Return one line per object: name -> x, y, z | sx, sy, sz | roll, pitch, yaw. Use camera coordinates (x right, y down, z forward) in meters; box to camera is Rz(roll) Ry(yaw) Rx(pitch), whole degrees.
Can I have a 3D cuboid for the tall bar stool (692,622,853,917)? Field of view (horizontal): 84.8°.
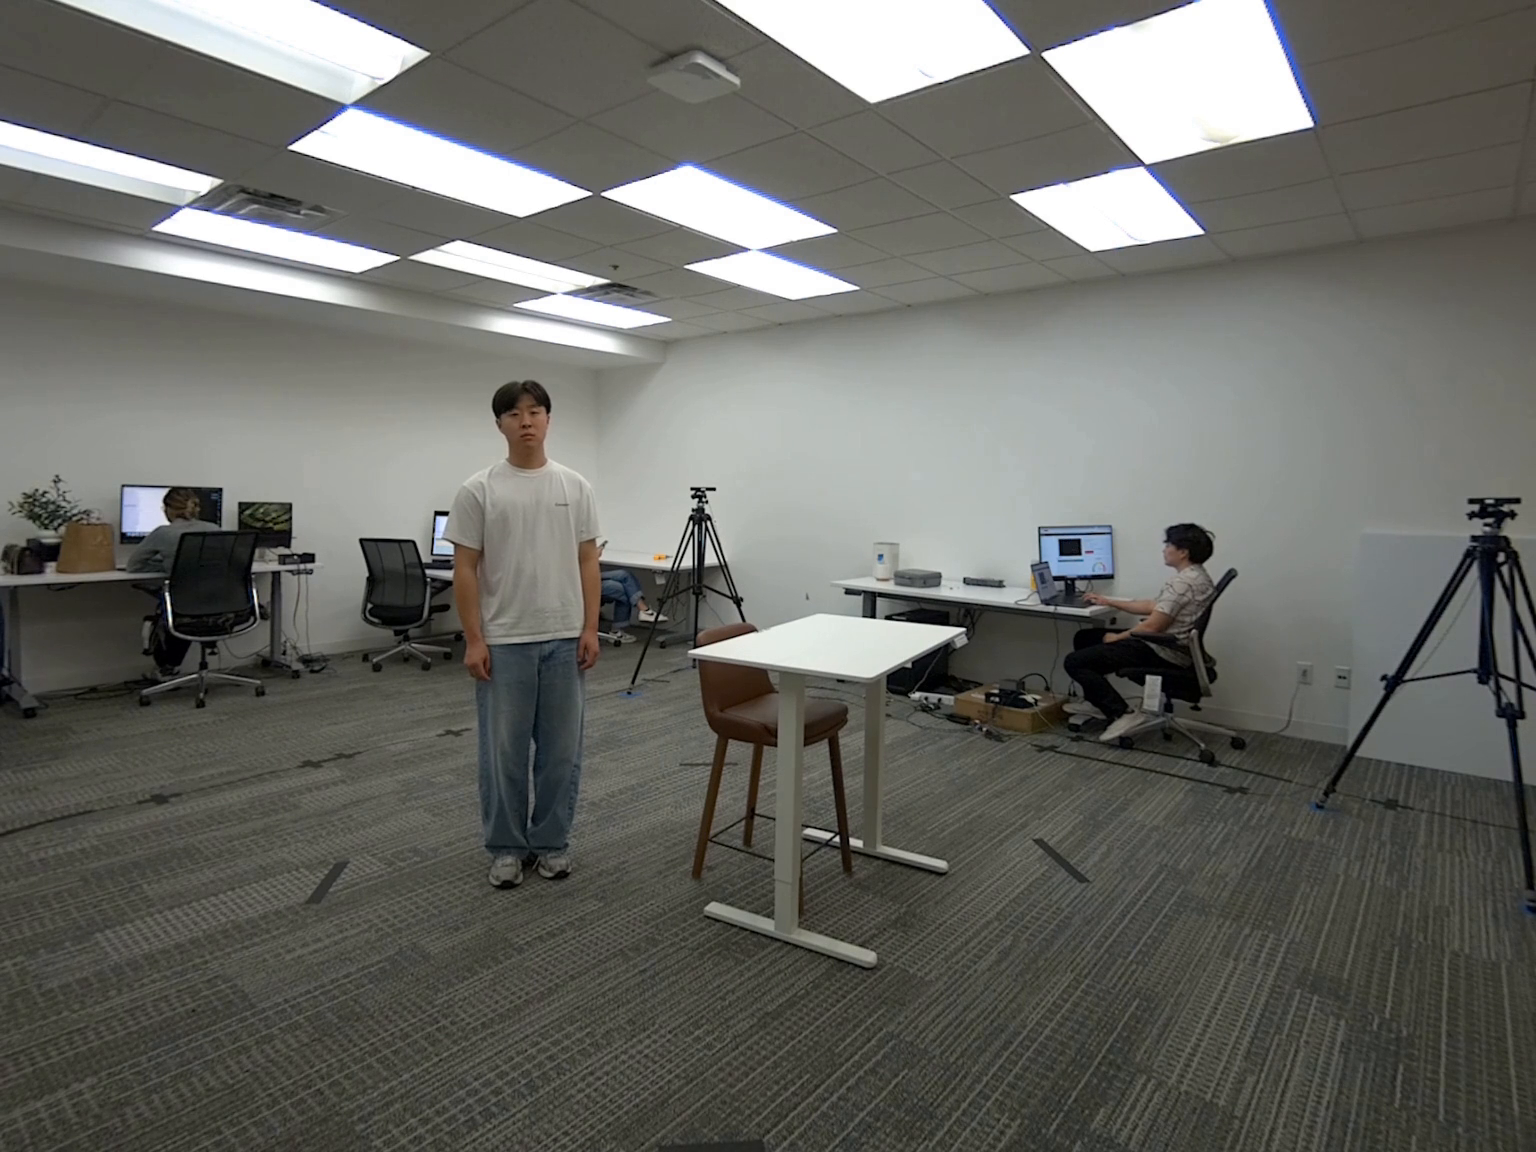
tall bar stool -> 0.002, 0.649, 3.039 | 0.481, 0.889, 0.444 | -1, 1, 34
